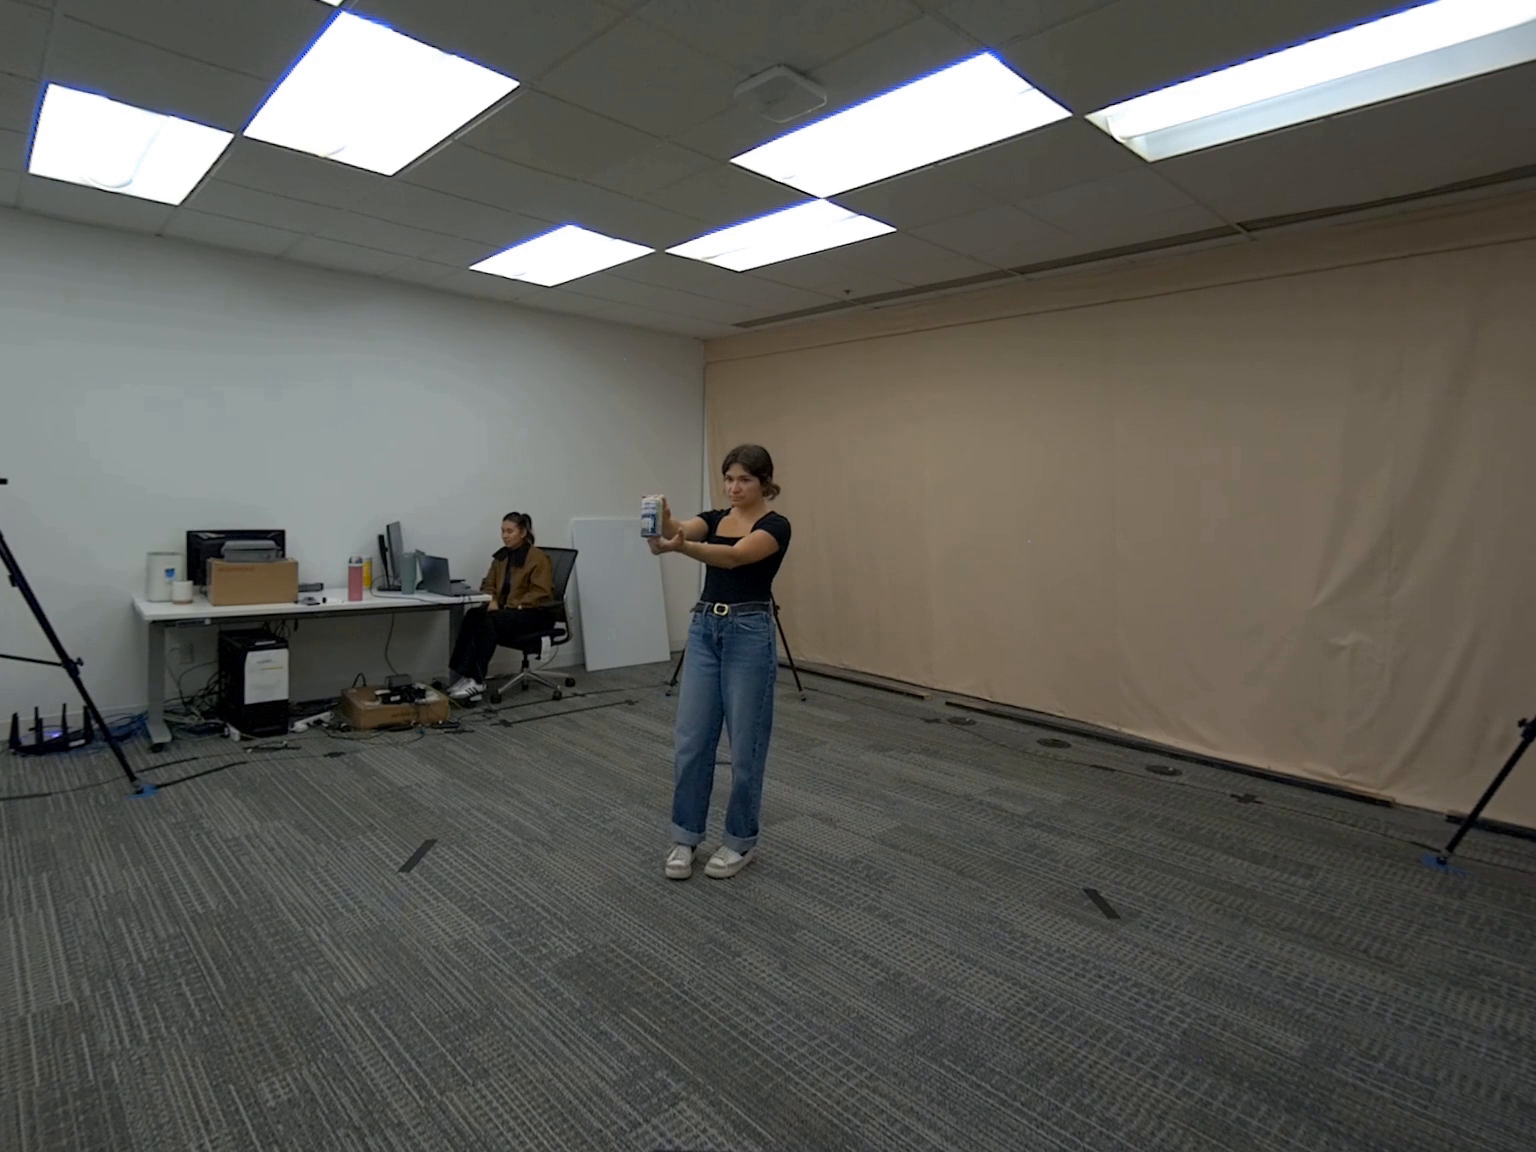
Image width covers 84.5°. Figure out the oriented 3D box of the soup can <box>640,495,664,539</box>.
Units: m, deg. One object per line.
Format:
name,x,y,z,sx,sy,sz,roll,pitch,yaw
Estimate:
soup can,-0.385,-0.183,2.663,0.067,0.122,0.067,1,-6,-1
